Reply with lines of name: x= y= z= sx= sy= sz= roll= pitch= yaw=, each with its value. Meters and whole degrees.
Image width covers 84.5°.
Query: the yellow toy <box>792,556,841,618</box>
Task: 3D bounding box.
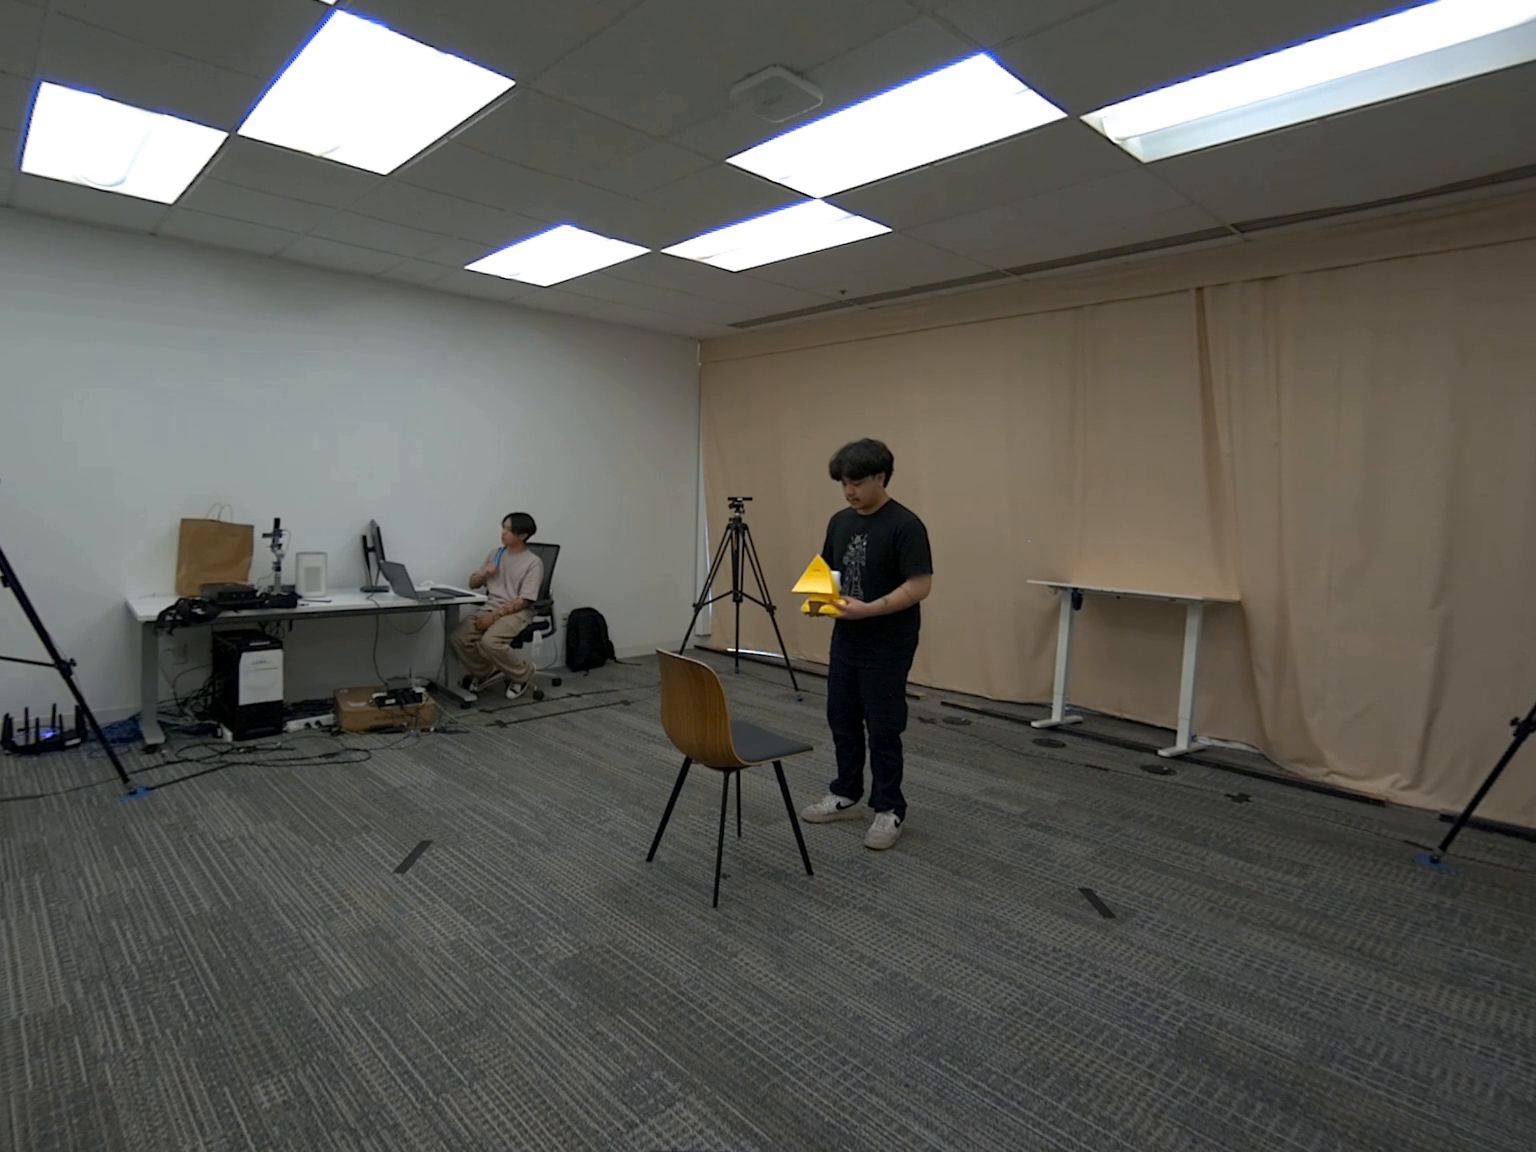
yellow toy: x=0.227 y=0.030 z=3.402 sx=0.210 sy=0.231 sz=0.188 roll=3 pitch=0 yaw=42
